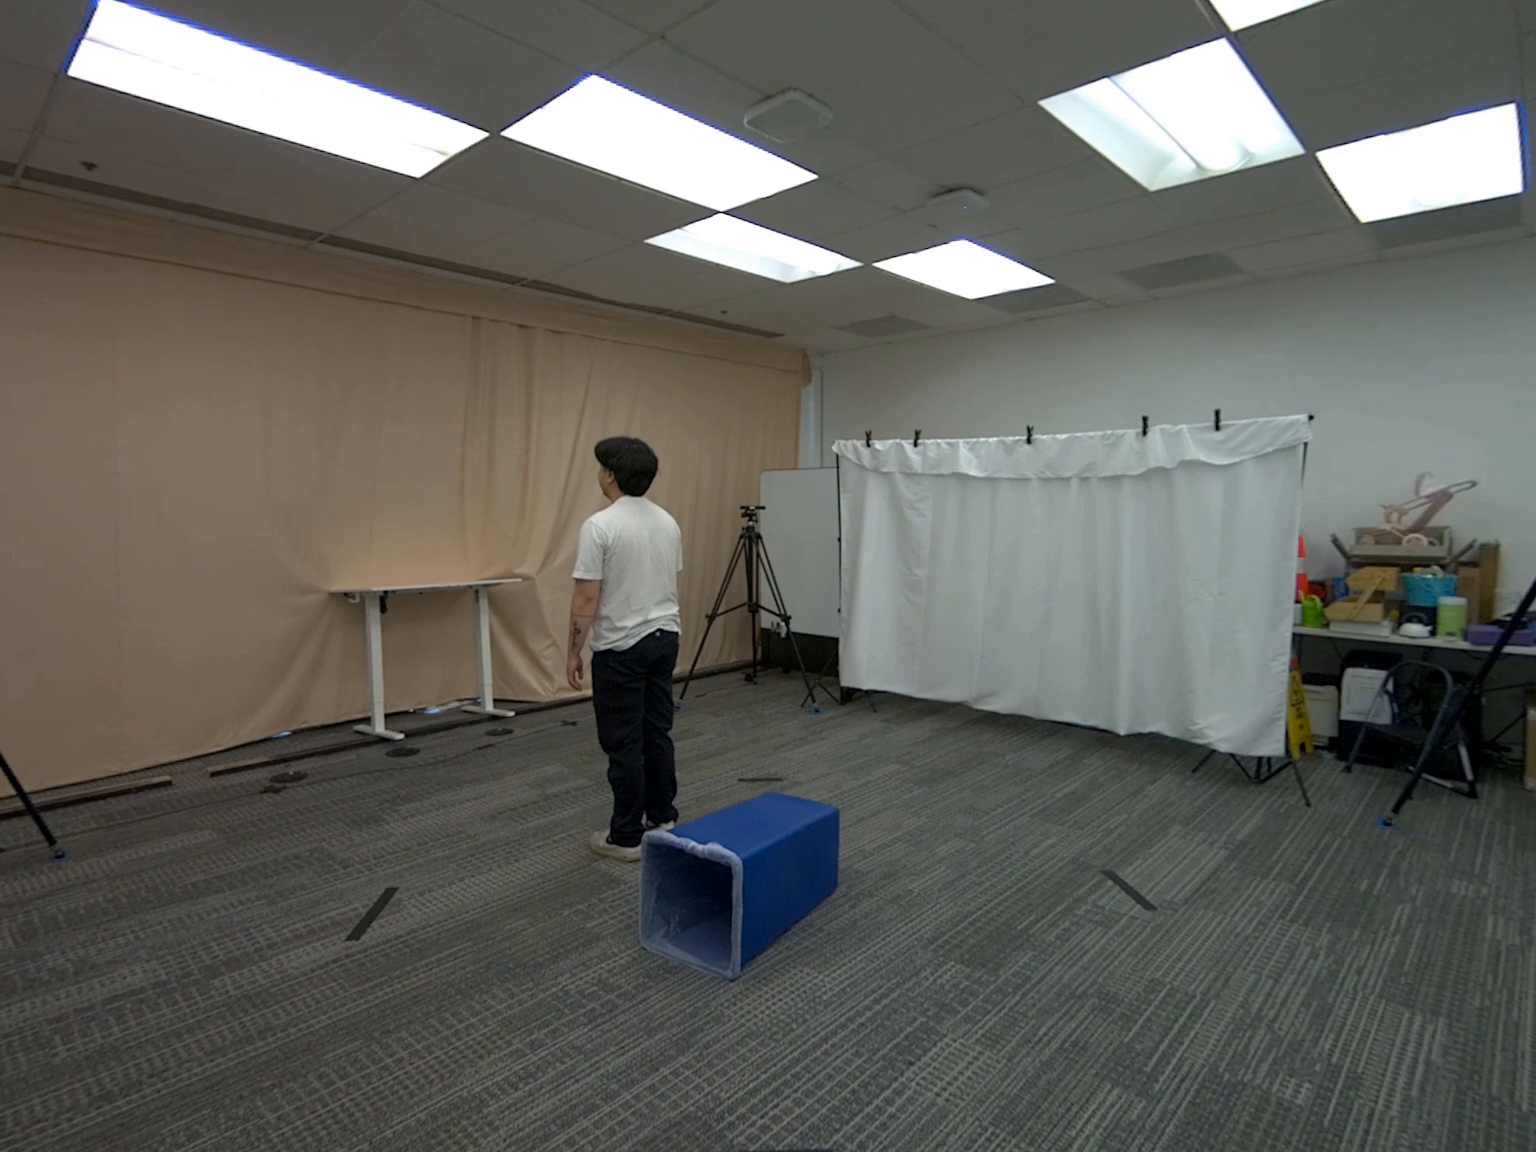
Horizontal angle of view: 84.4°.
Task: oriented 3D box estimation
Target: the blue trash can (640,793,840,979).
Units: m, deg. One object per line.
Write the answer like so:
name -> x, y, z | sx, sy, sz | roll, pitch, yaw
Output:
blue trash can -> -0.055, 0.990, 2.841 | 0.390, 0.374, 0.692 | 1, 1, 34
